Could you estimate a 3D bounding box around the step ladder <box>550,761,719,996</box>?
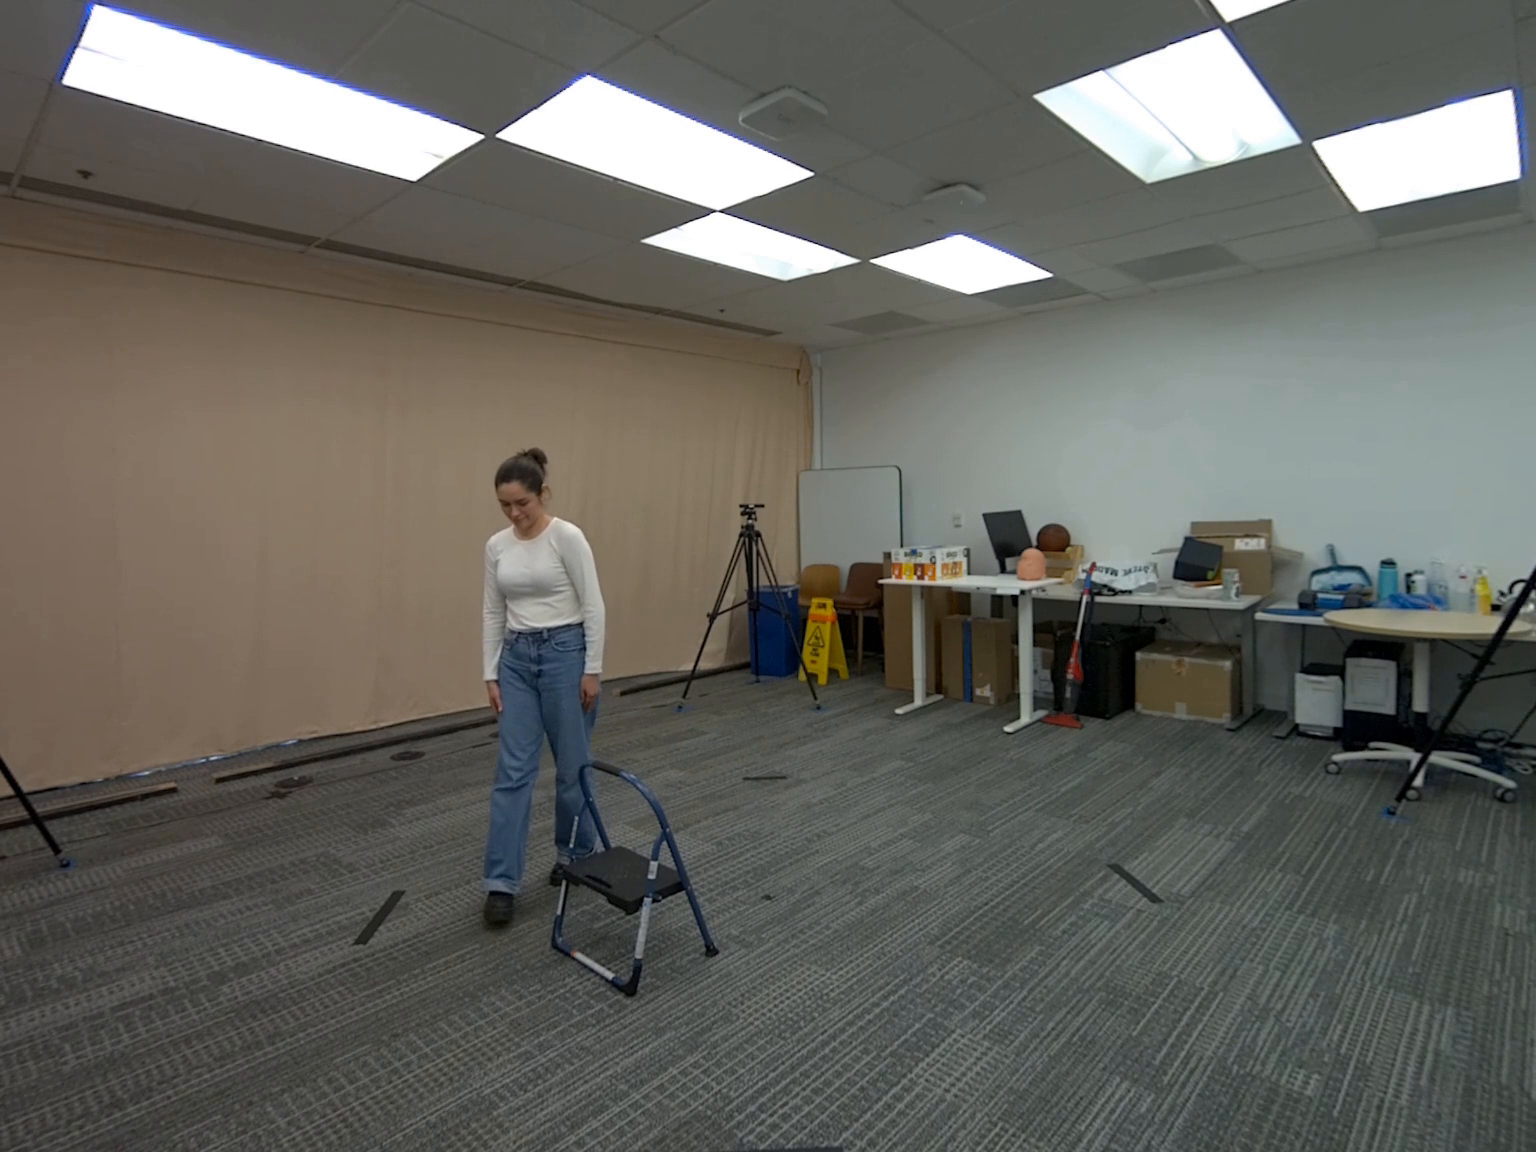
[{"bbox_3d":[-0.427,0.876,2.636,0.445,0.605,0.338,2,4,43],"label":"step ladder"}]
